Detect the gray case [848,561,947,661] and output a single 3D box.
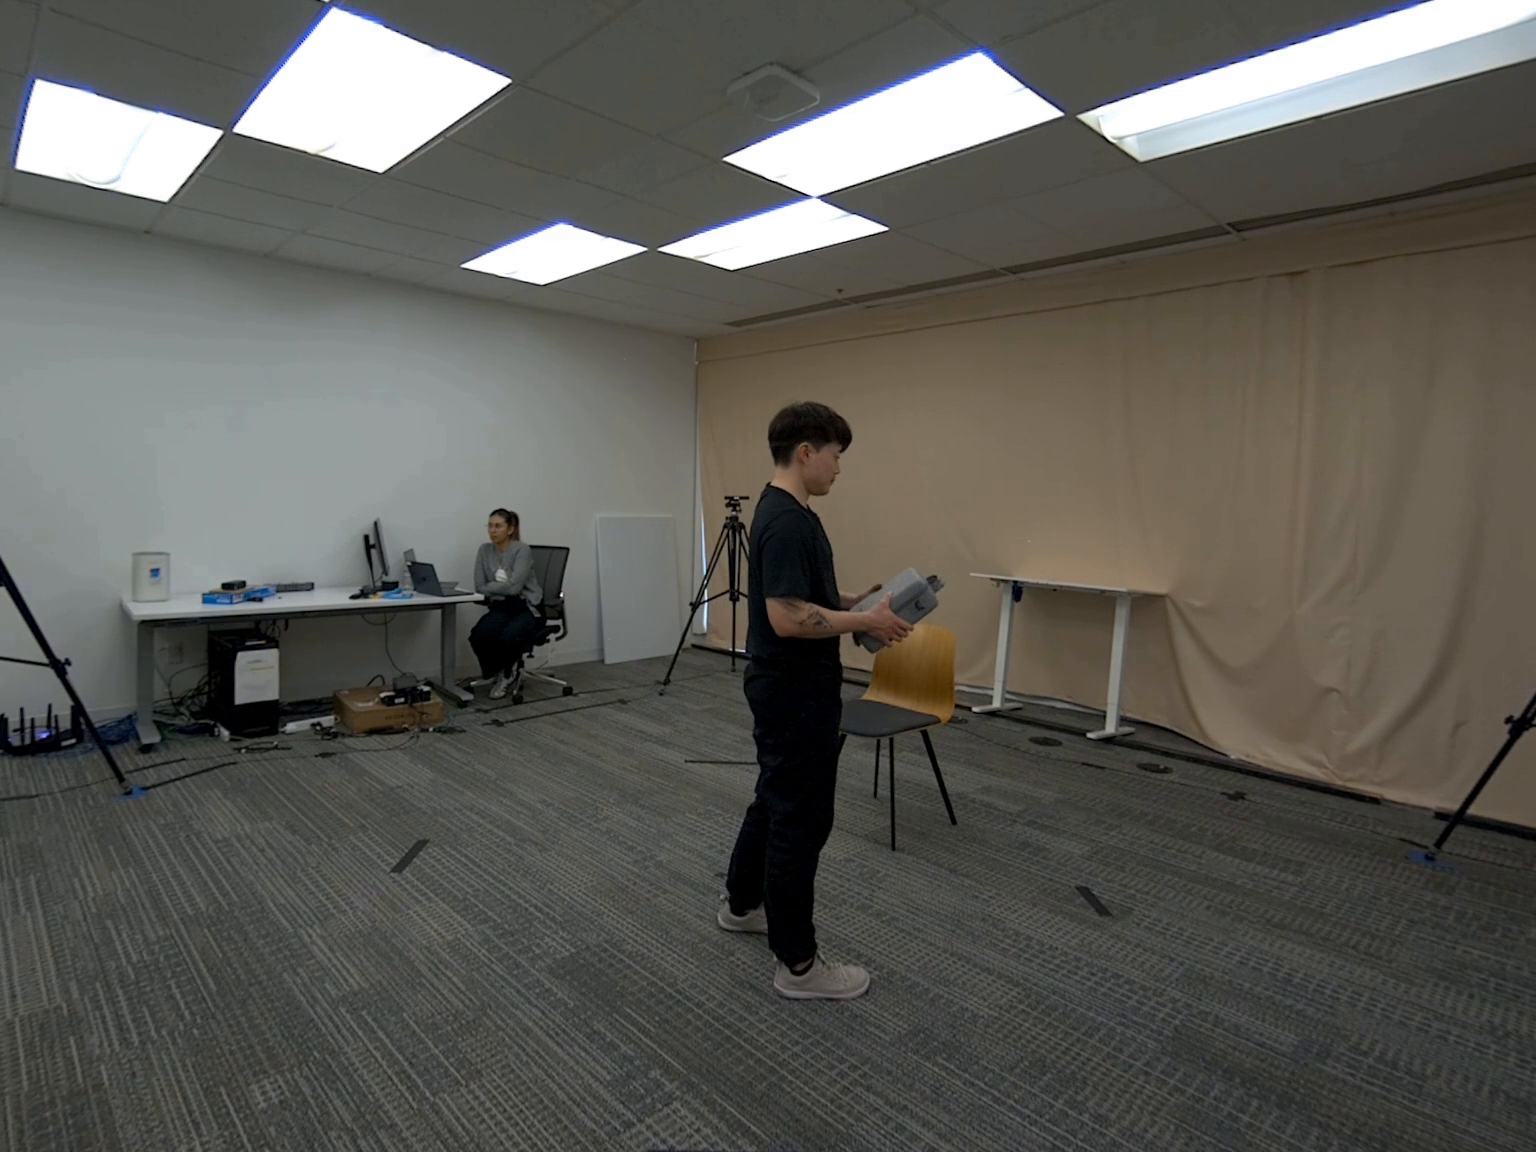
[{"bbox_3d":[0.360,0.095,2.456,0.261,0.104,0.257,-38,4,9],"label":"gray case"}]
